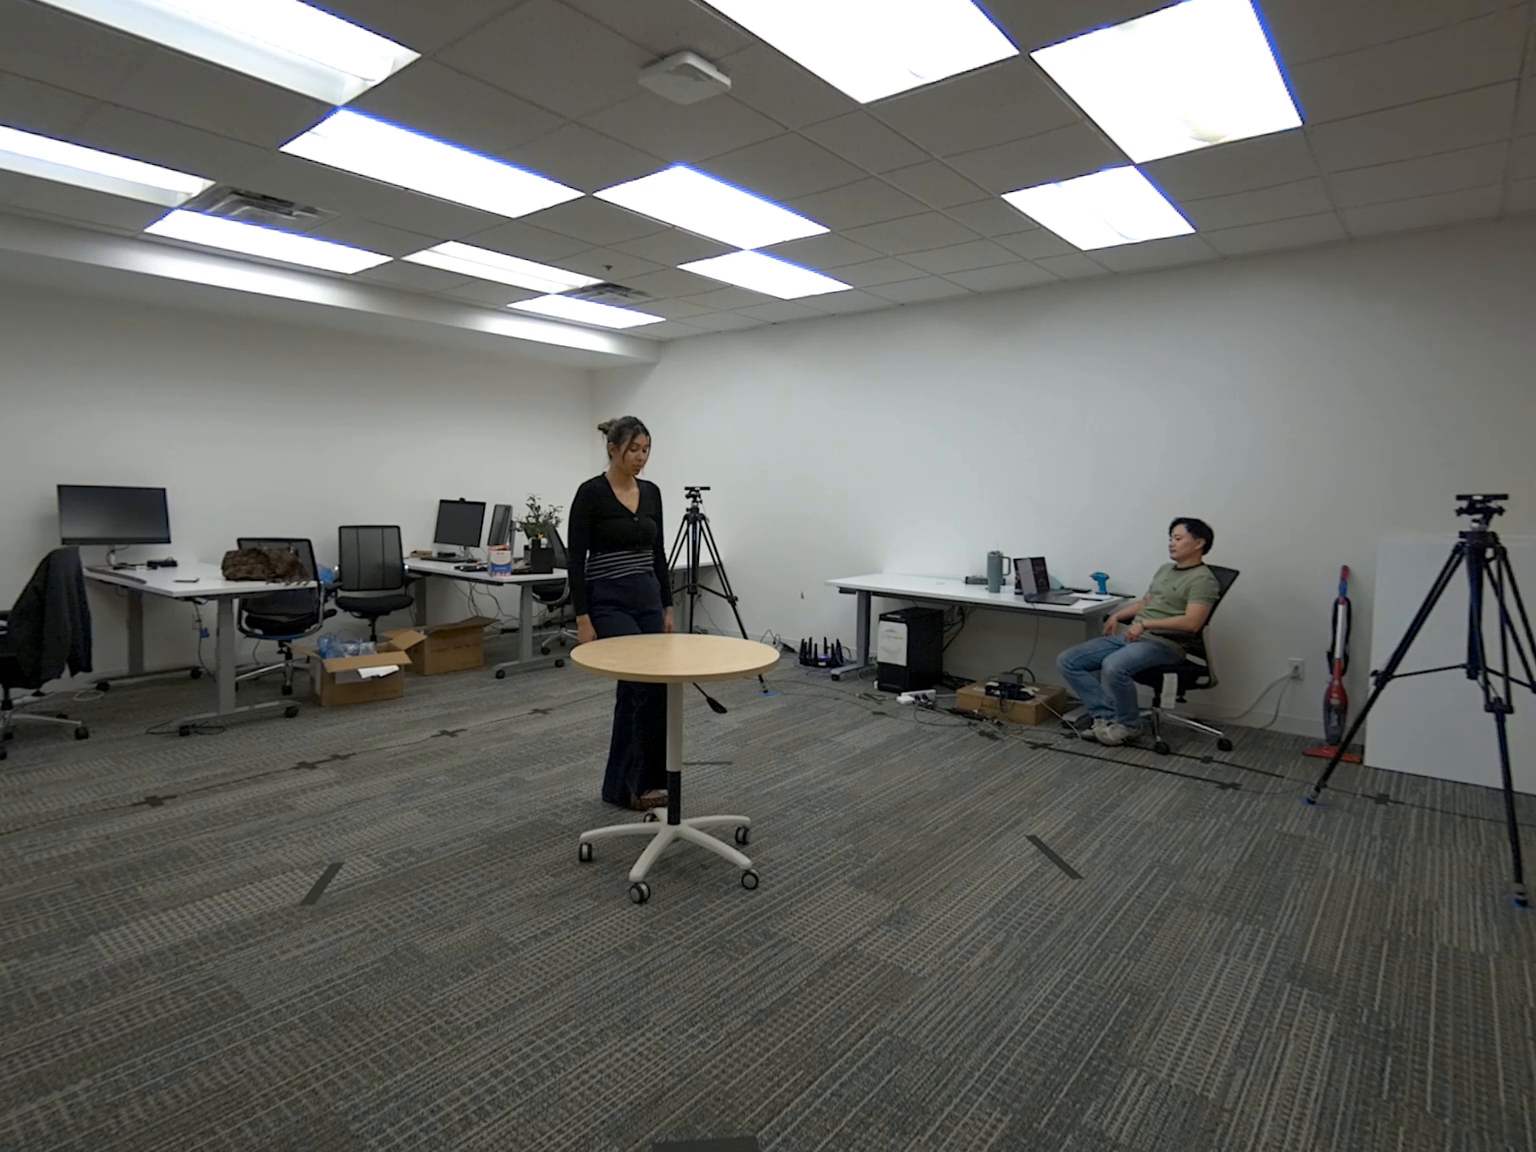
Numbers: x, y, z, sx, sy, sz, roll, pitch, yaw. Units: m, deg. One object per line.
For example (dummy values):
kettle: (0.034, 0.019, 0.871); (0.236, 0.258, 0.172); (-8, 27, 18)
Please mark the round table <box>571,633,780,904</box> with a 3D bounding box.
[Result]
round table: (-0.349, 0.670, 3.152); (0.763, 0.791, 0.768); (1, 4, -2)
